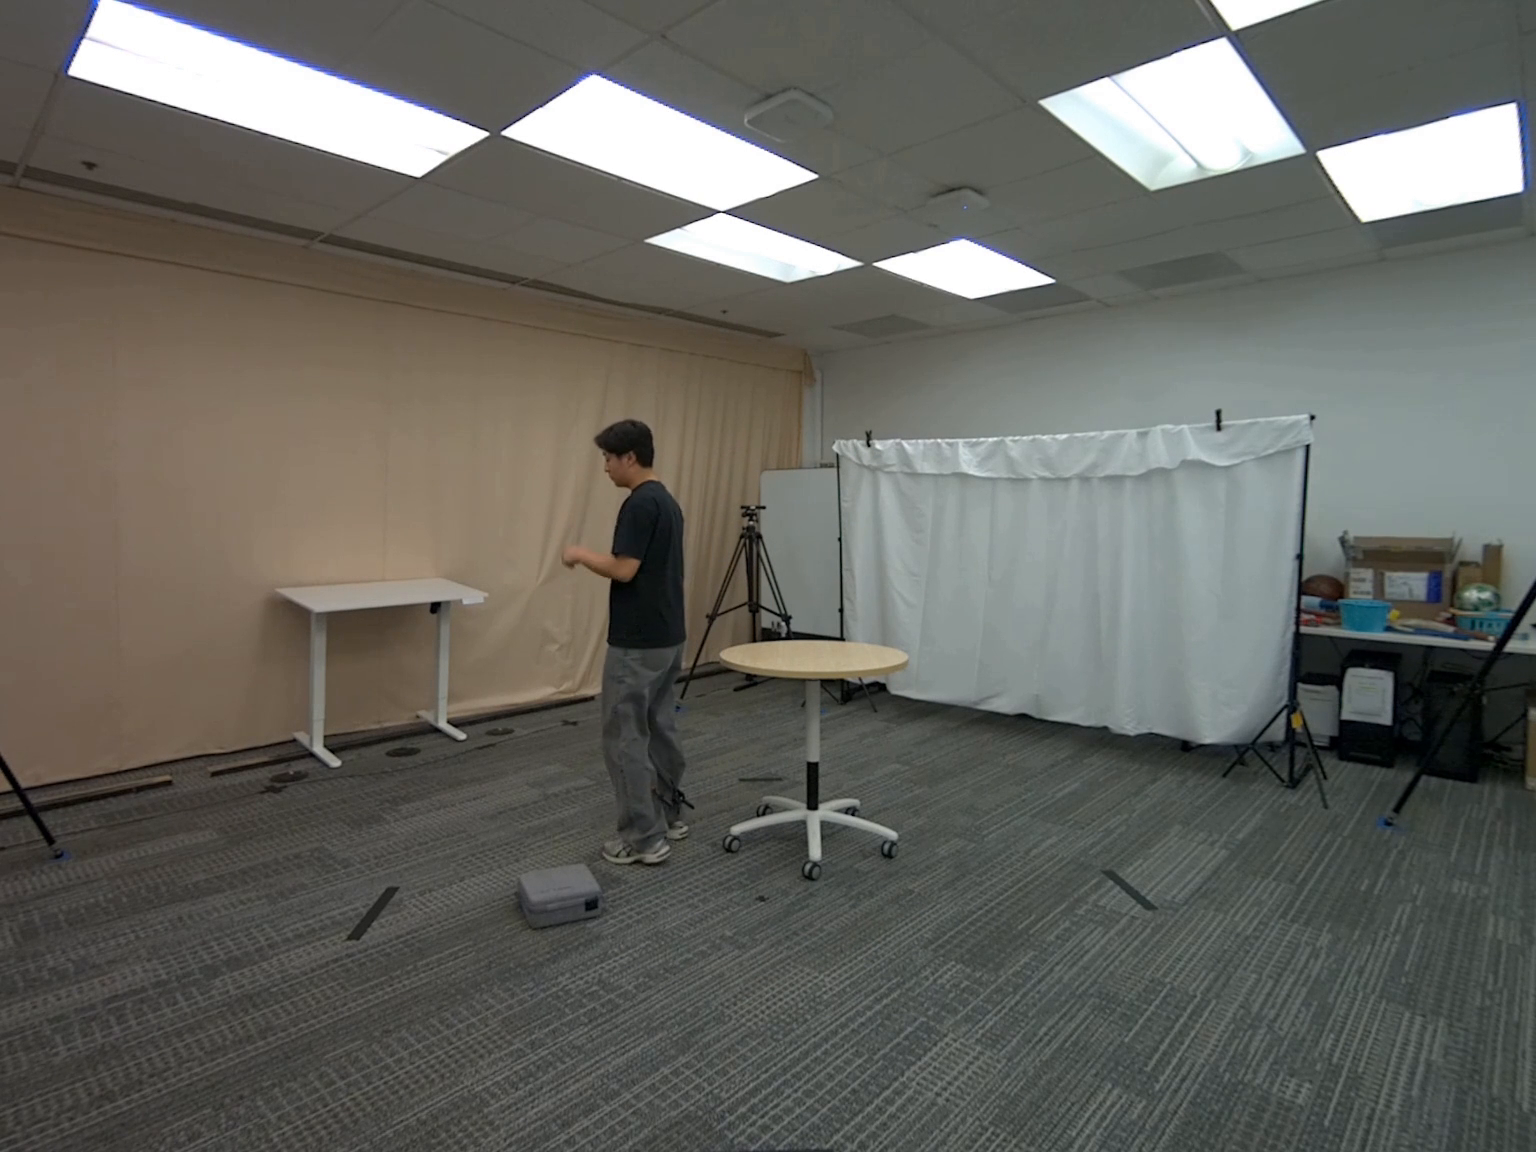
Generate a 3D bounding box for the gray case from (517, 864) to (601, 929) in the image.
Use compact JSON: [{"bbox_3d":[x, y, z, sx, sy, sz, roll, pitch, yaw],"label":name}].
[{"bbox_3d":[-0.732,1.103,2.922,0.257,0.103,0.294,-2,4,-24],"label":"gray case"}]
